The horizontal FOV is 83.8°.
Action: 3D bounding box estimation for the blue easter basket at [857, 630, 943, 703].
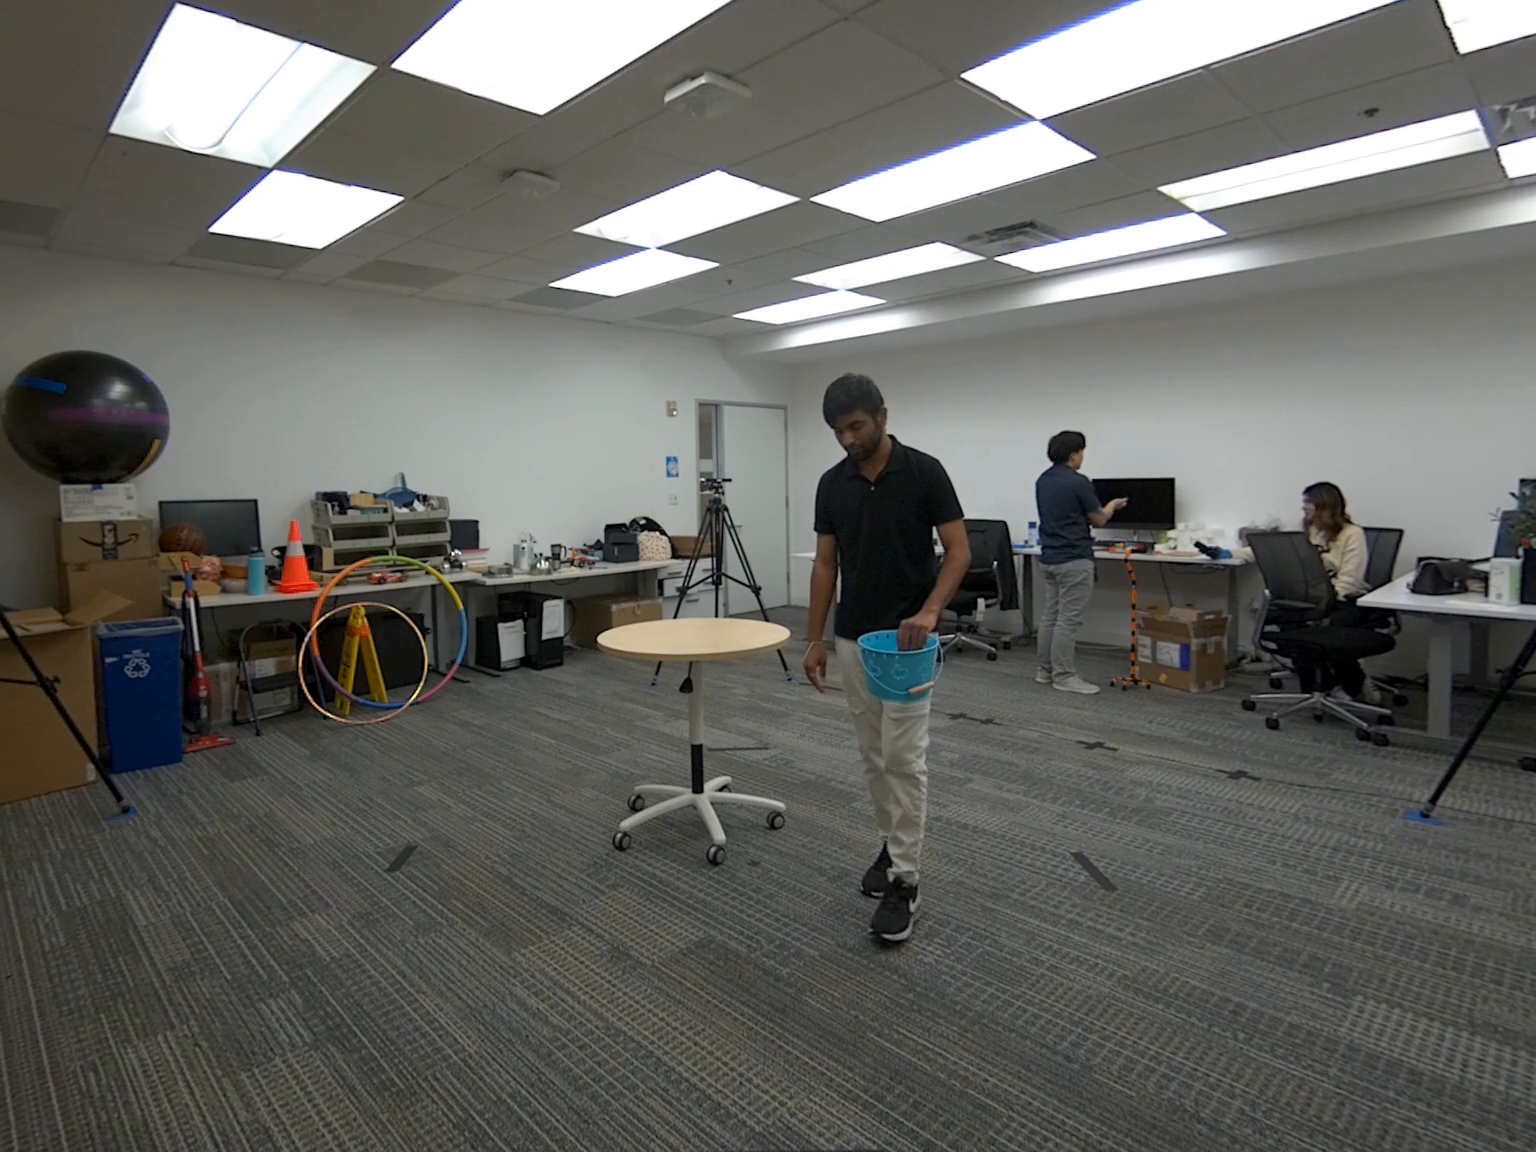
[{"bbox_3d":[0.379,0.268,2.469,0.243,0.154,0.246,-3,10,-1],"label":"blue easter basket"}]
